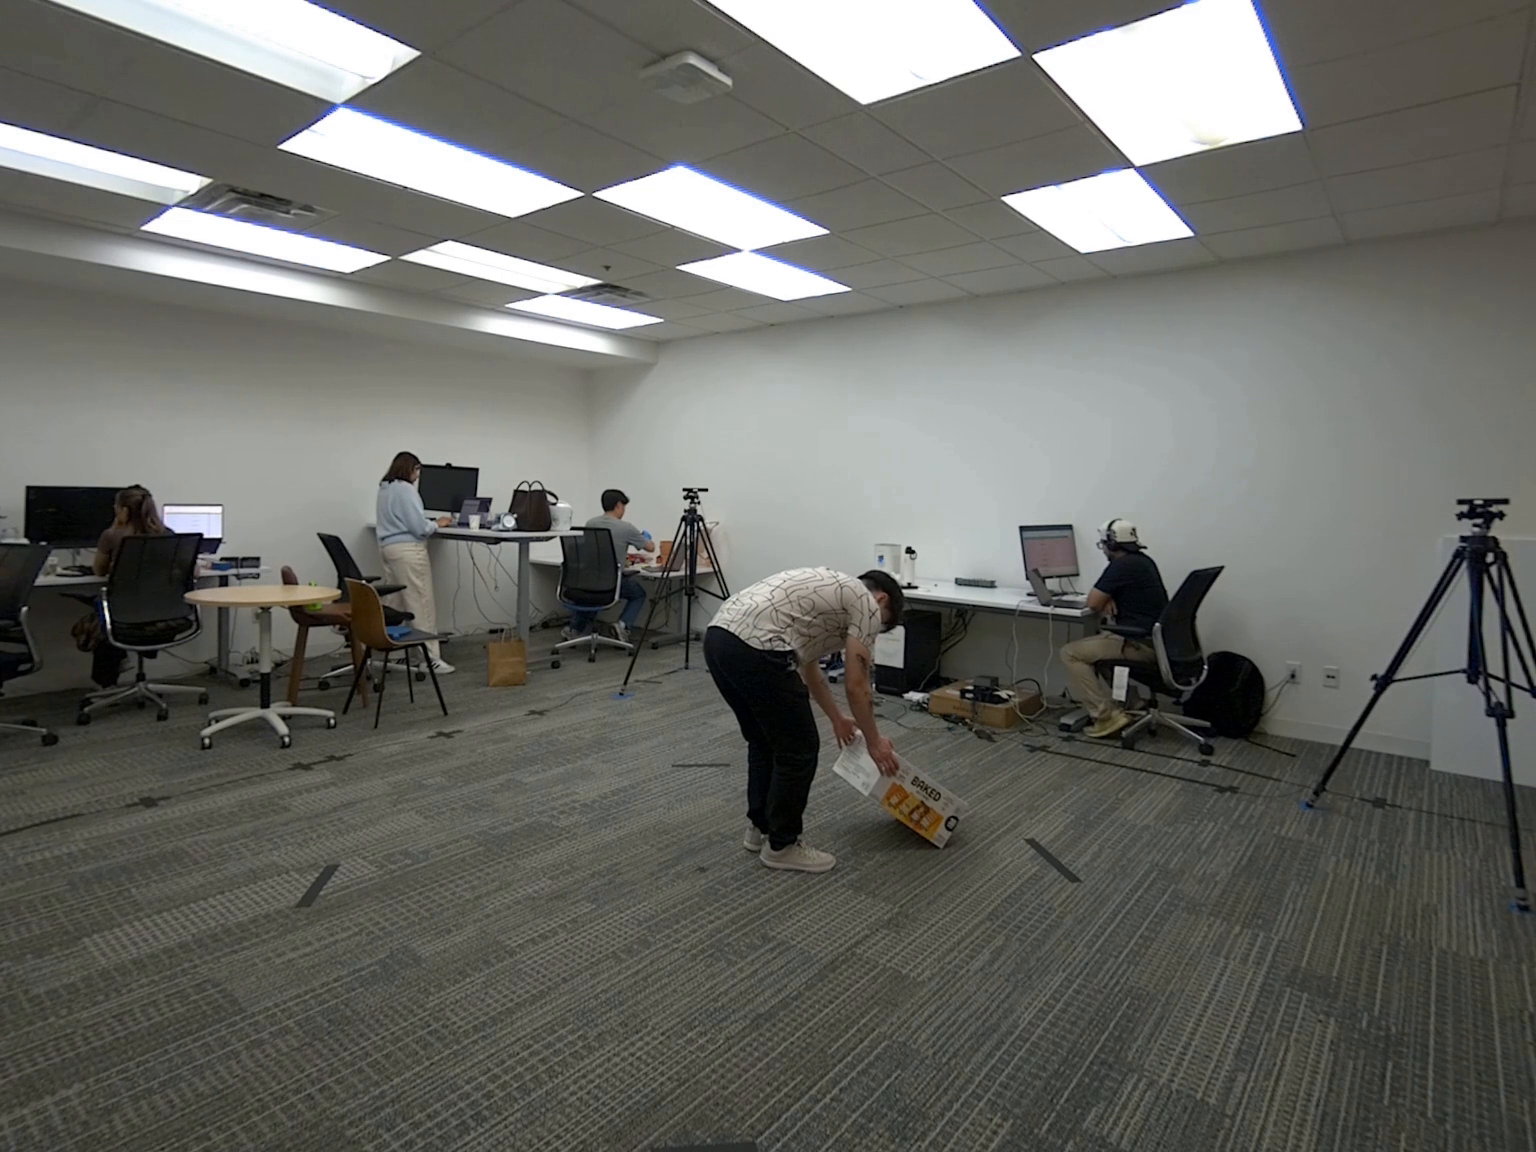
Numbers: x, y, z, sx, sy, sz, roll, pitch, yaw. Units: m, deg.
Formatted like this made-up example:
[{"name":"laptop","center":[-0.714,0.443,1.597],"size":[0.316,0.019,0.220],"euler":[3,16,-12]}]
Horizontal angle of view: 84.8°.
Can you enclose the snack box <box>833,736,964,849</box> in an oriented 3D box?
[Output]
[{"name":"snack box","center":[0.523,0.857,3.457],"size":[0.397,0.206,0.347],"euler":[37,-7,-15]}]
